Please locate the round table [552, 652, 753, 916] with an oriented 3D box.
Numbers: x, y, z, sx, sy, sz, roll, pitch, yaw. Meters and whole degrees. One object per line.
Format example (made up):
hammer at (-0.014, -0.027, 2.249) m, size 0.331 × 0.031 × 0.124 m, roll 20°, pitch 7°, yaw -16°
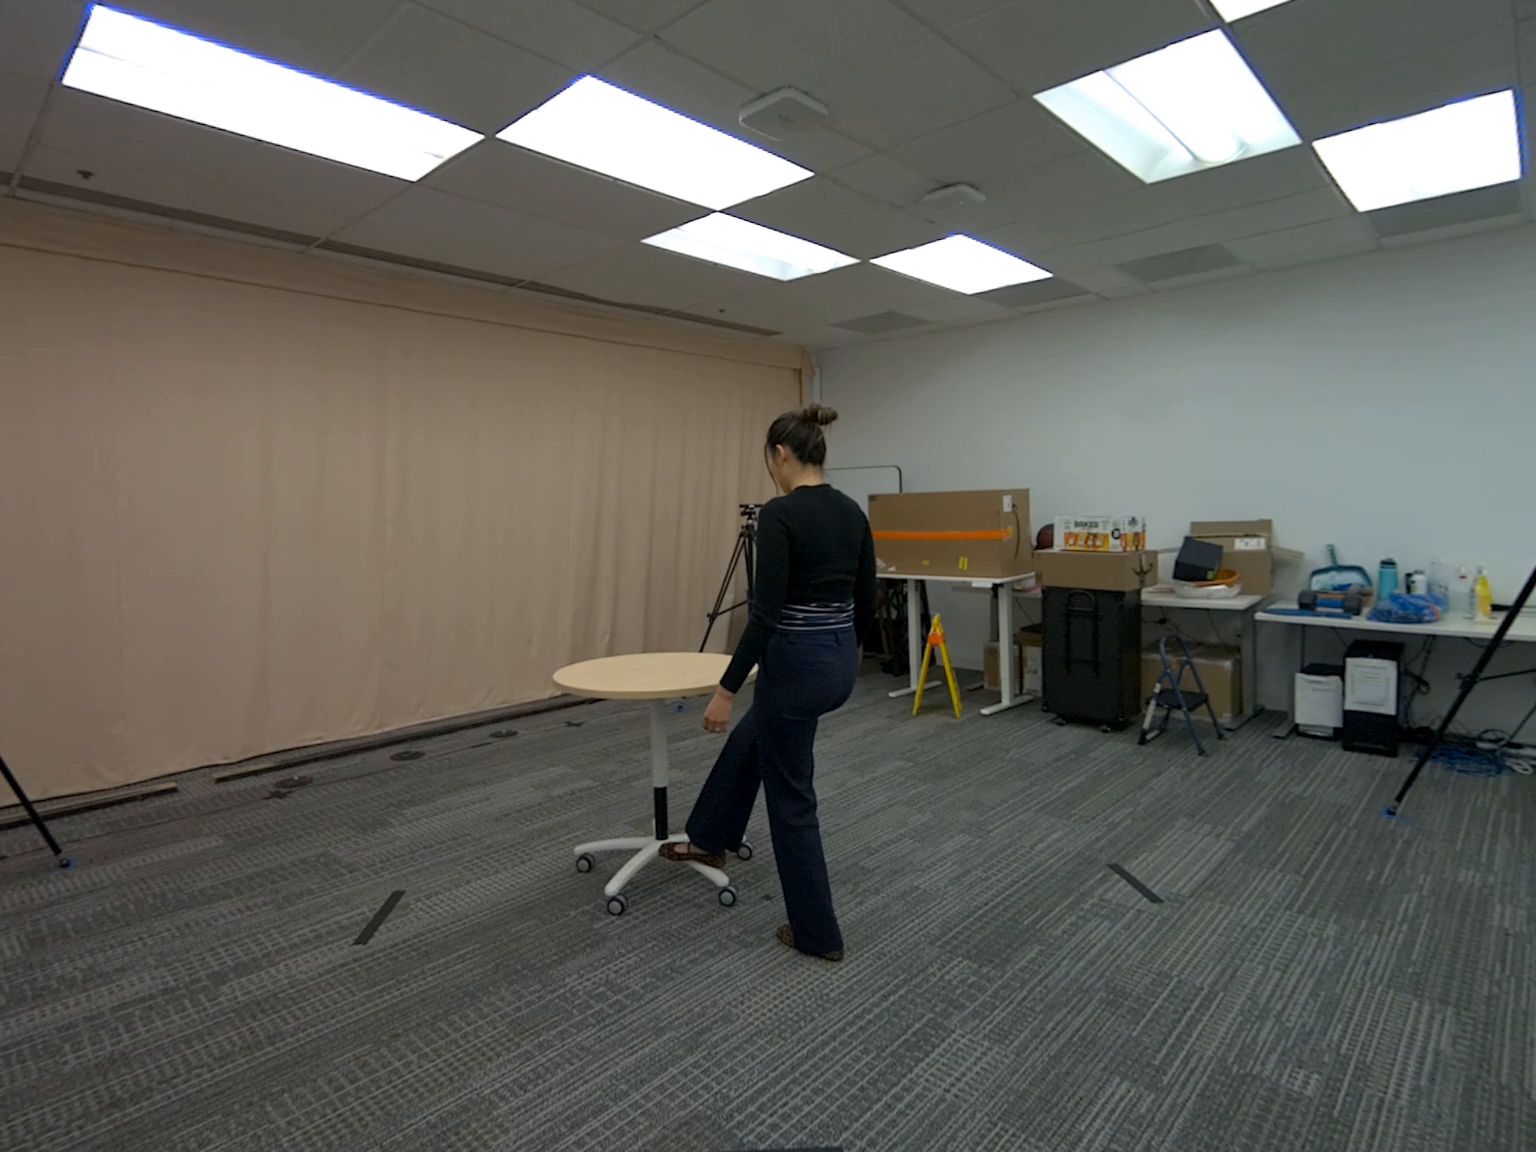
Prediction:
round table at (-0.397, 0.744, 3.162) m, size 0.763 × 0.793 × 0.766 m, roll -2°, pitch 3°, yaw -2°
